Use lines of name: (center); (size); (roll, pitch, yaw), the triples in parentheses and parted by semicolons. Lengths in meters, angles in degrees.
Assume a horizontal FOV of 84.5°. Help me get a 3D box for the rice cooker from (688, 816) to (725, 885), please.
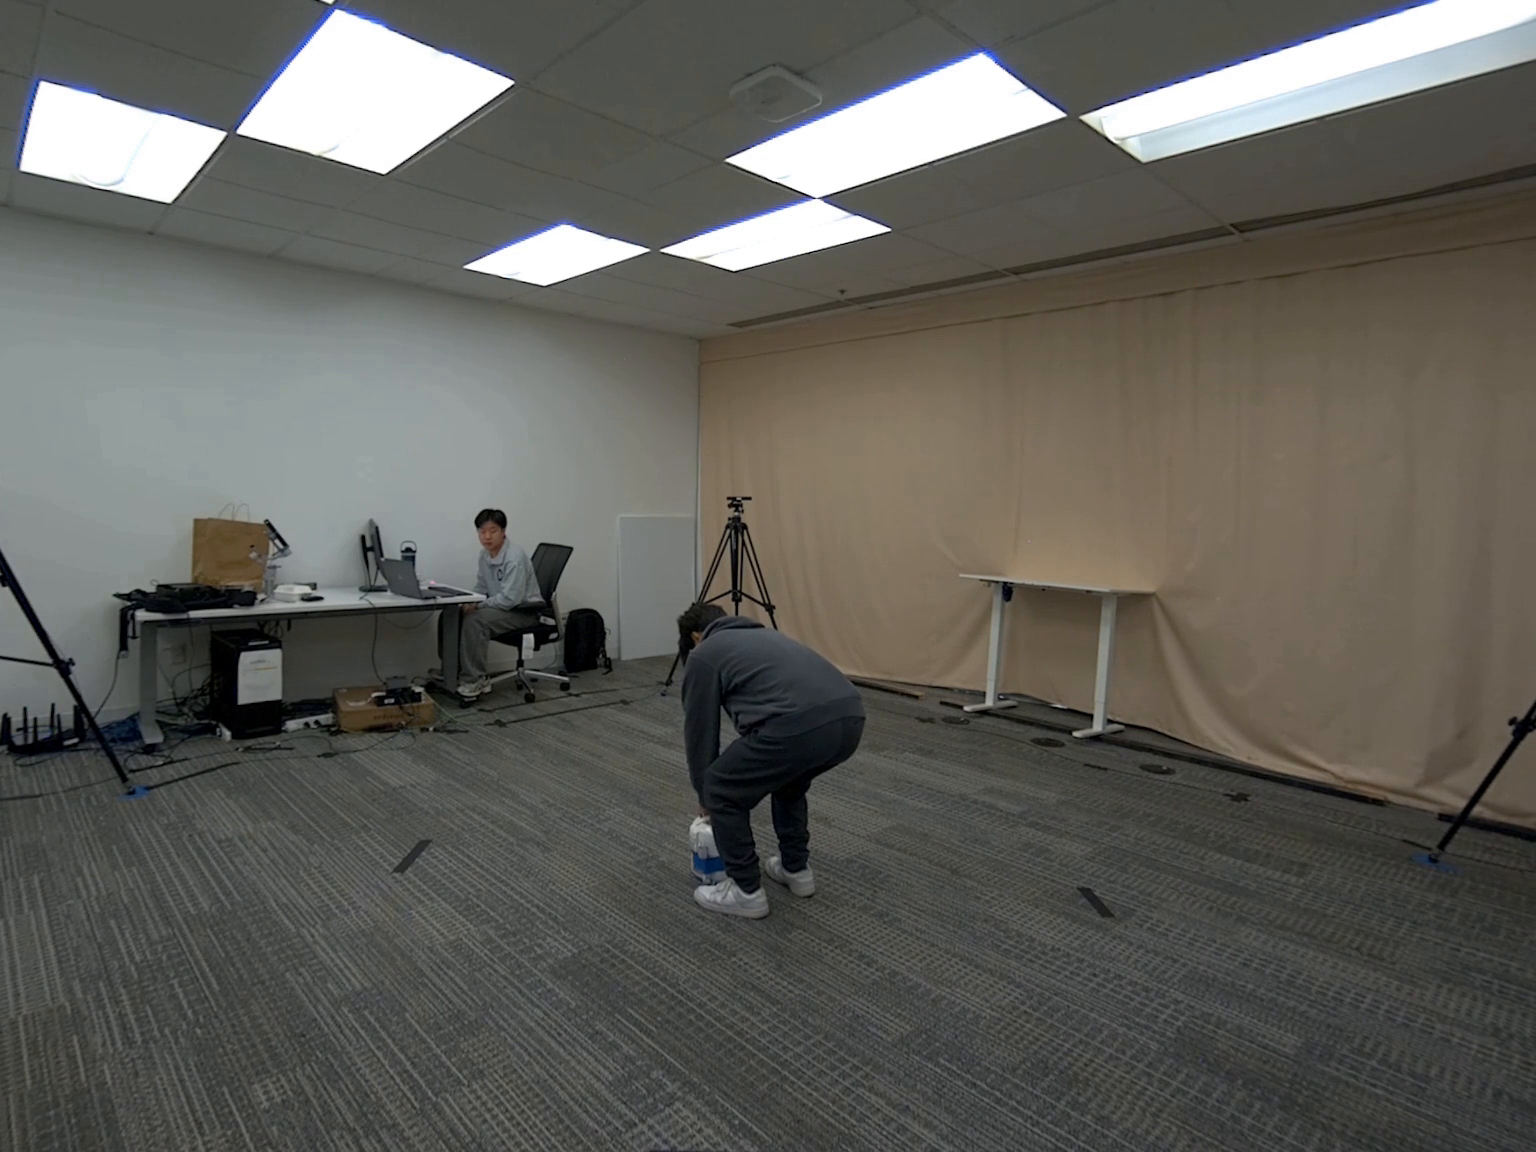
rice cooker: (-0.189, 0.987, 3.113); (0.217, 0.232, 0.222); (0, 6, -22)
